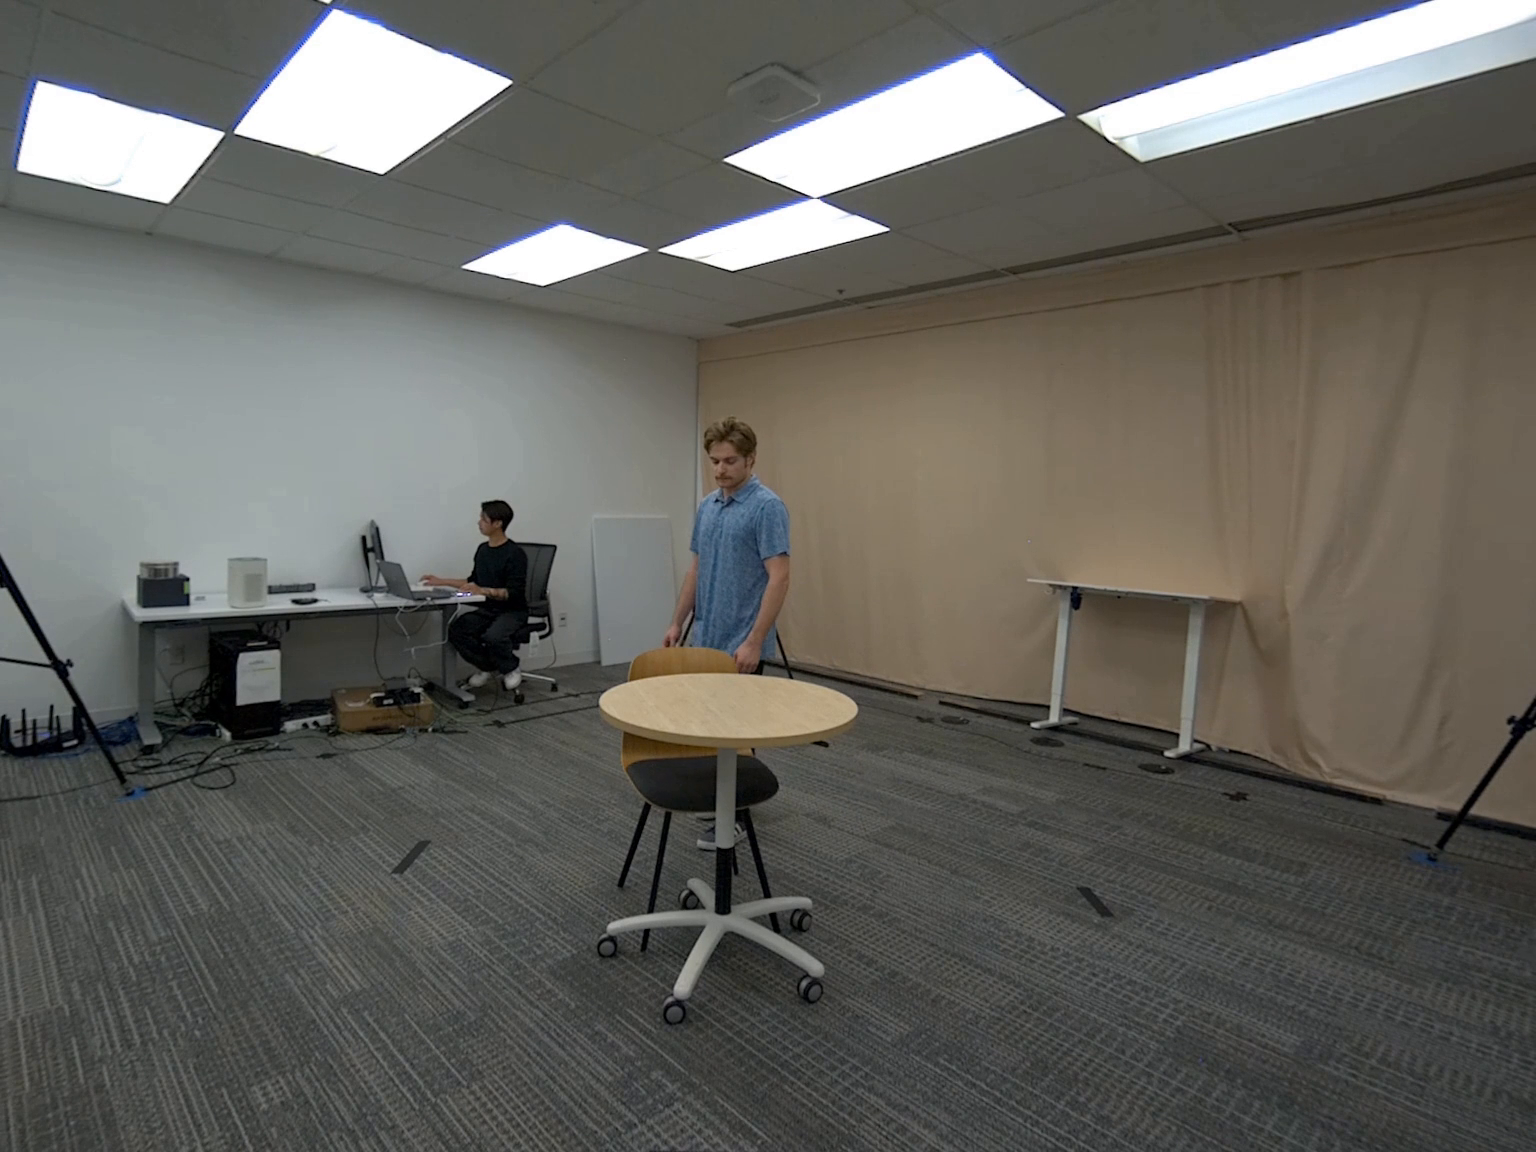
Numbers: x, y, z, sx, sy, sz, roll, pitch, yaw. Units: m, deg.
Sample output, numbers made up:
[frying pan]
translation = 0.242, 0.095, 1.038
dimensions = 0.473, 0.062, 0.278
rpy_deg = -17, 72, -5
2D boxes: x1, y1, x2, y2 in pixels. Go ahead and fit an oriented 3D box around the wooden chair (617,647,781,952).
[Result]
[wooden chair]
translation = -0.245, 0.702, 2.810
dimensions = 0.471, 0.878, 0.530
rpy_deg = 1, -1, -19
